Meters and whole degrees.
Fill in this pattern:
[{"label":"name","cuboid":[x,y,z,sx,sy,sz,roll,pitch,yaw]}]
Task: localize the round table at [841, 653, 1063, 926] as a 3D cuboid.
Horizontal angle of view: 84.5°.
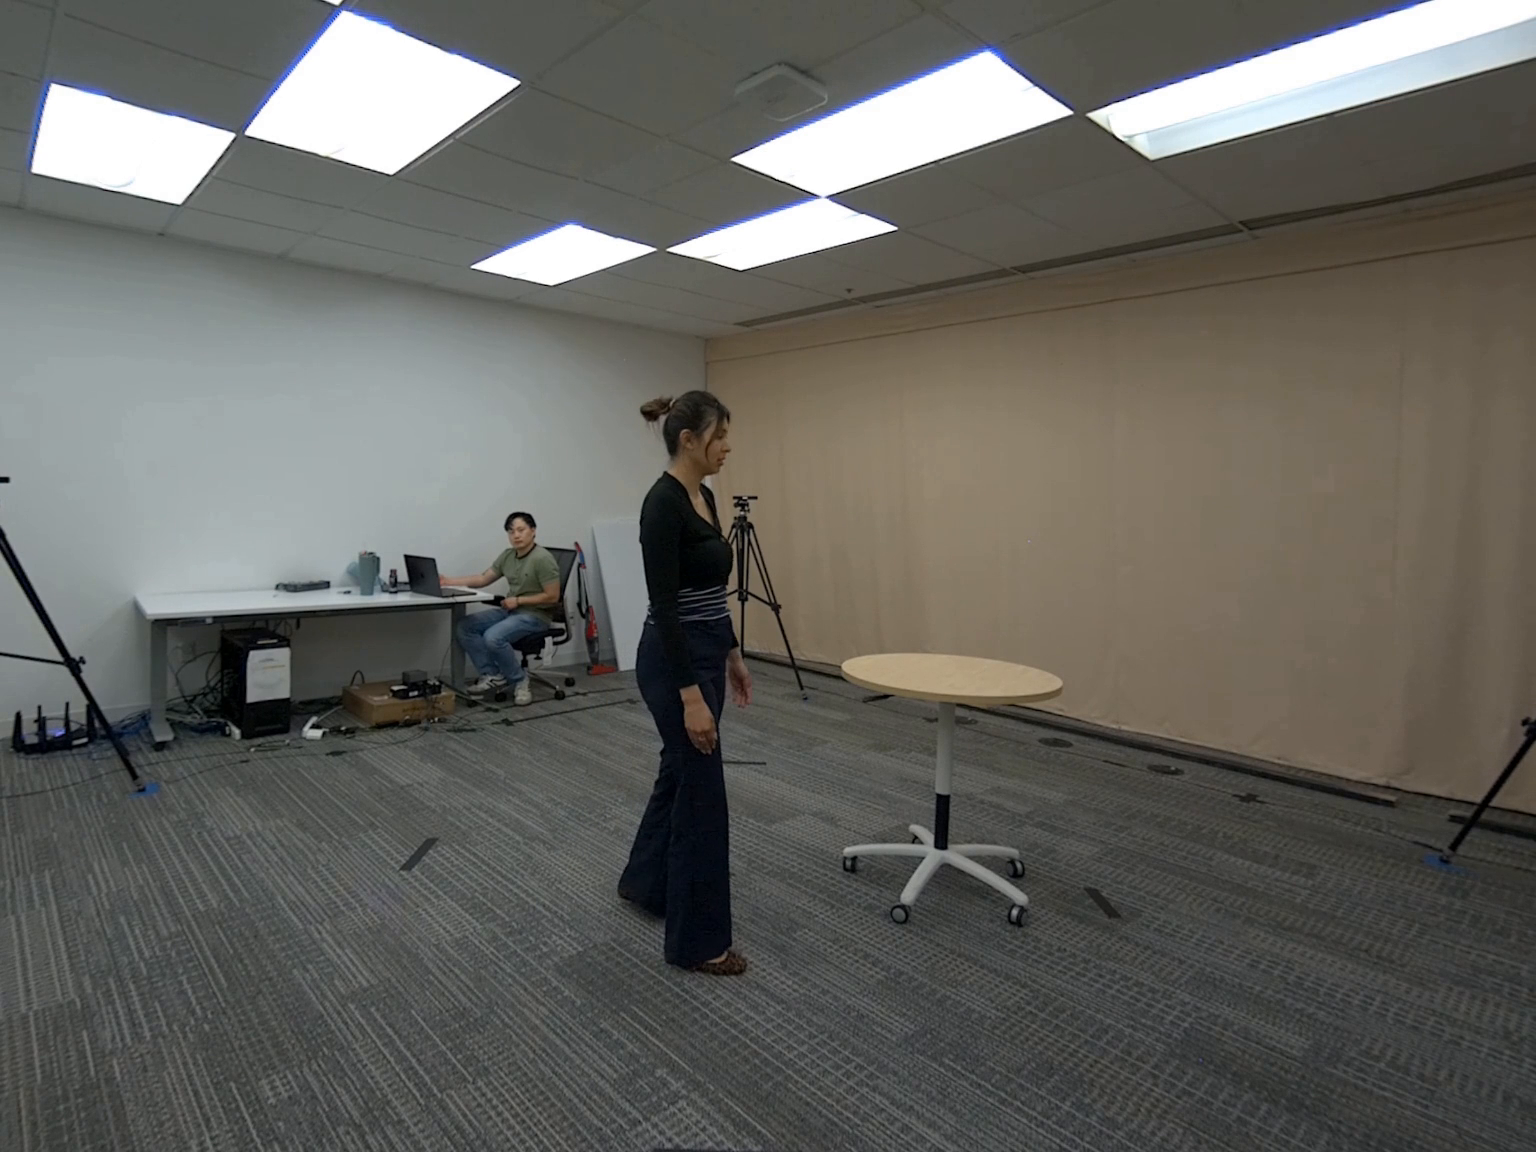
[{"label":"round table","cuboid":[0.624,0.739,3.037,0.763,0.792,0.766,2,4,-1]}]
